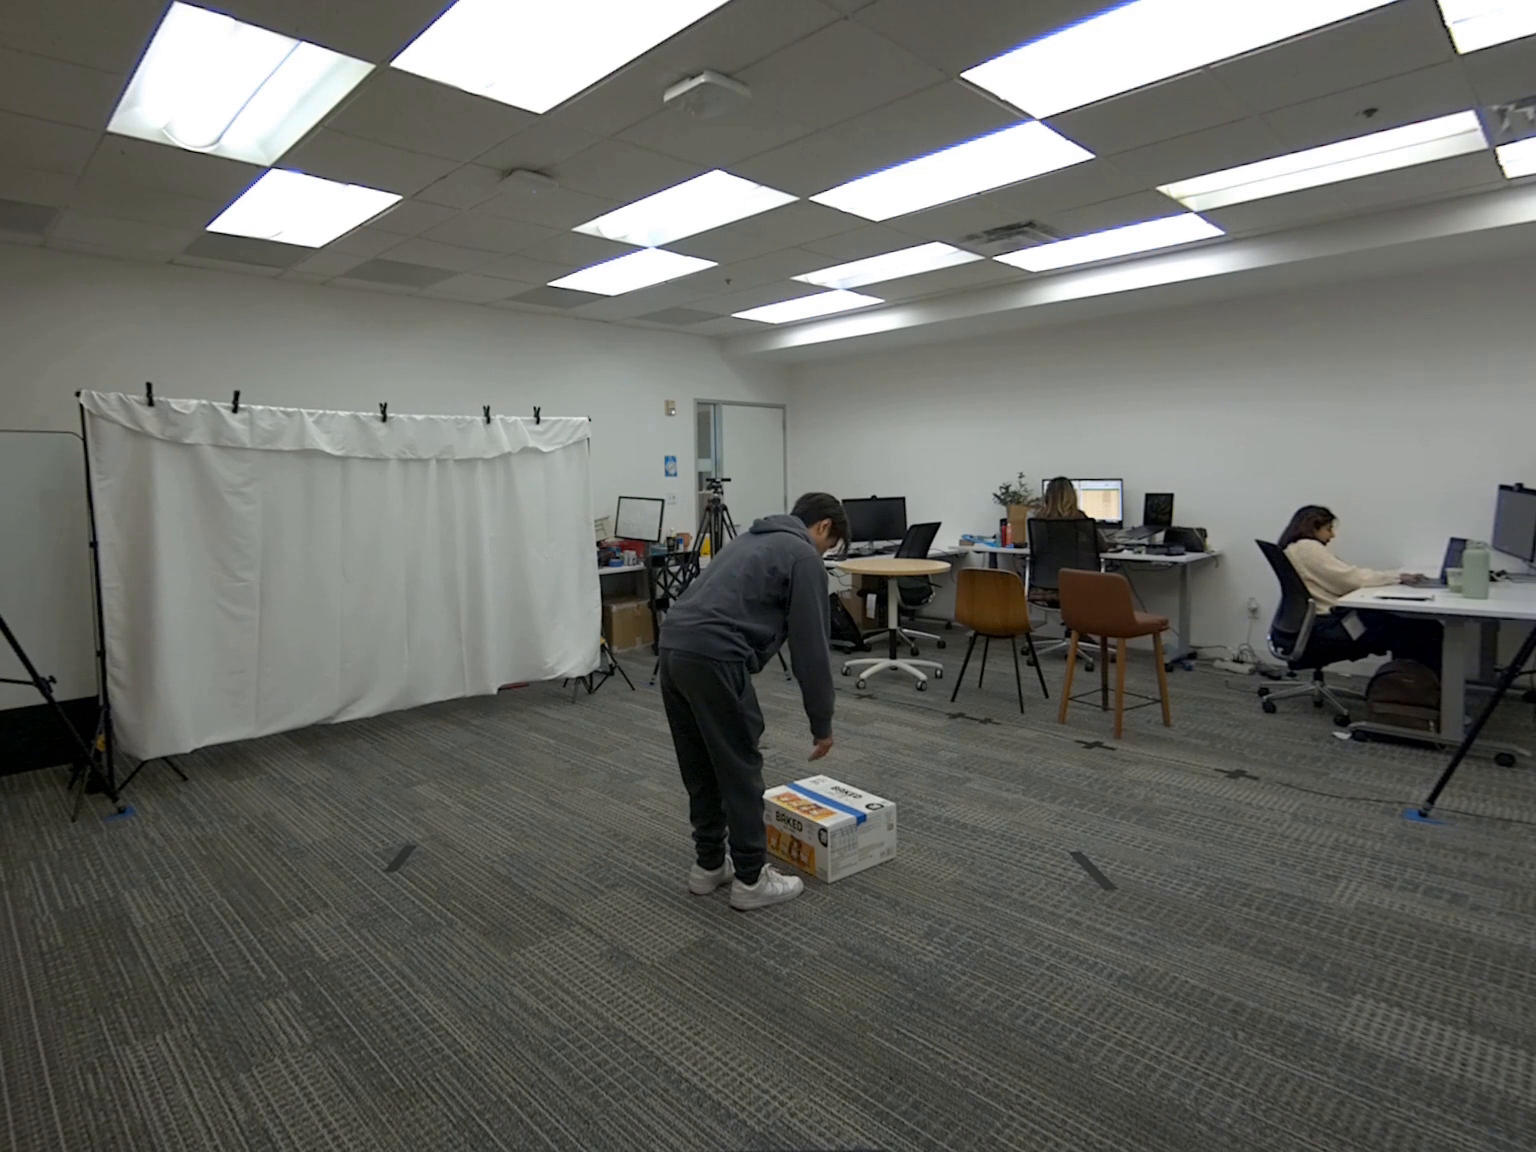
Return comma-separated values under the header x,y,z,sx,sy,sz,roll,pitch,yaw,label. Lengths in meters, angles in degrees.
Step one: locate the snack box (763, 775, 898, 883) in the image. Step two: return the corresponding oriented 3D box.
x,y,z,sx,sy,sz,roll,pitch,yaw,label
0.213,0.930,3.179,0.332,0.205,0.417,-6,7,-37,snack box
